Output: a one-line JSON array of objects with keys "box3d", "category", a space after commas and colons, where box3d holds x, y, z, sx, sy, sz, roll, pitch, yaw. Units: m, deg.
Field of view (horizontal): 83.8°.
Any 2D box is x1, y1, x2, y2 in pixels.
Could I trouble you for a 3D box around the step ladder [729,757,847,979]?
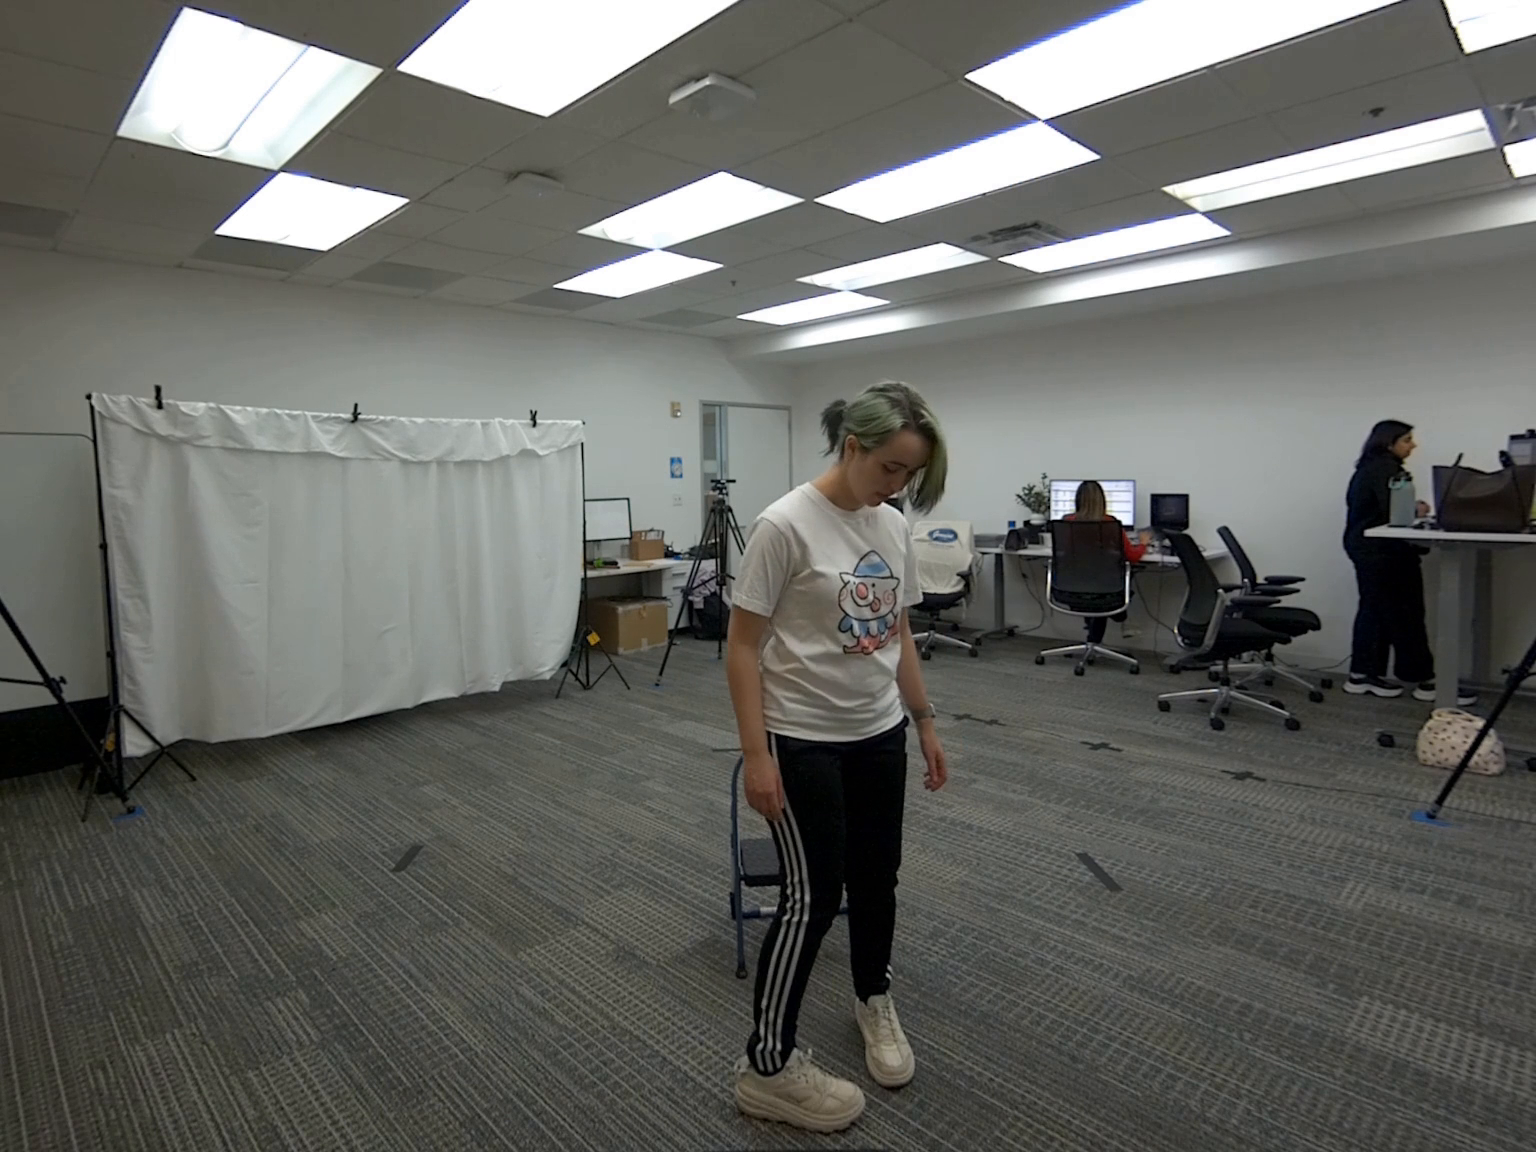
[{"box3d": [0.103, 0.809, 2.565, 0.428, 0.604, 0.352, -1, 4, -6], "category": "step ladder"}]
